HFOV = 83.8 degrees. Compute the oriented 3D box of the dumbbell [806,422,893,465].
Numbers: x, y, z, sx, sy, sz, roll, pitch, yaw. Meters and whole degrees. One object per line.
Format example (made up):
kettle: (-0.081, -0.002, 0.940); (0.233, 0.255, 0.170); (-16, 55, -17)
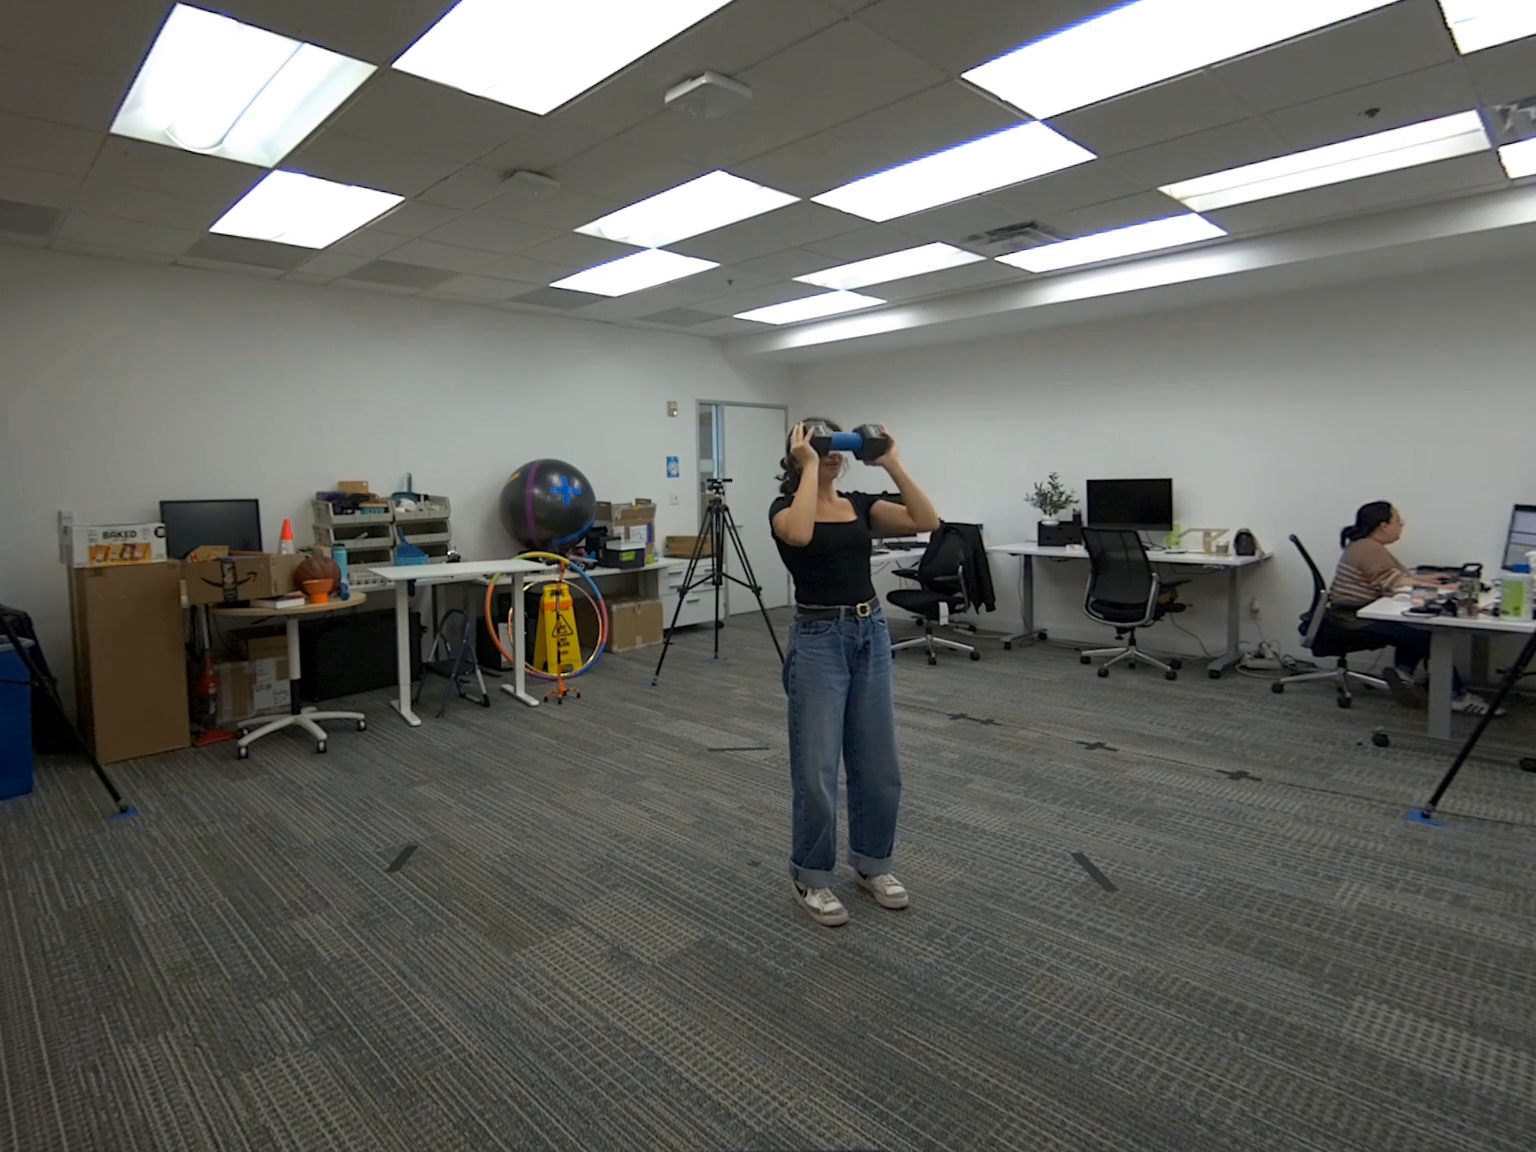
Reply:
dumbbell: (0.231, -0.430, 2.690); (0.287, 0.121, 0.113); (-3, 28, -26)
